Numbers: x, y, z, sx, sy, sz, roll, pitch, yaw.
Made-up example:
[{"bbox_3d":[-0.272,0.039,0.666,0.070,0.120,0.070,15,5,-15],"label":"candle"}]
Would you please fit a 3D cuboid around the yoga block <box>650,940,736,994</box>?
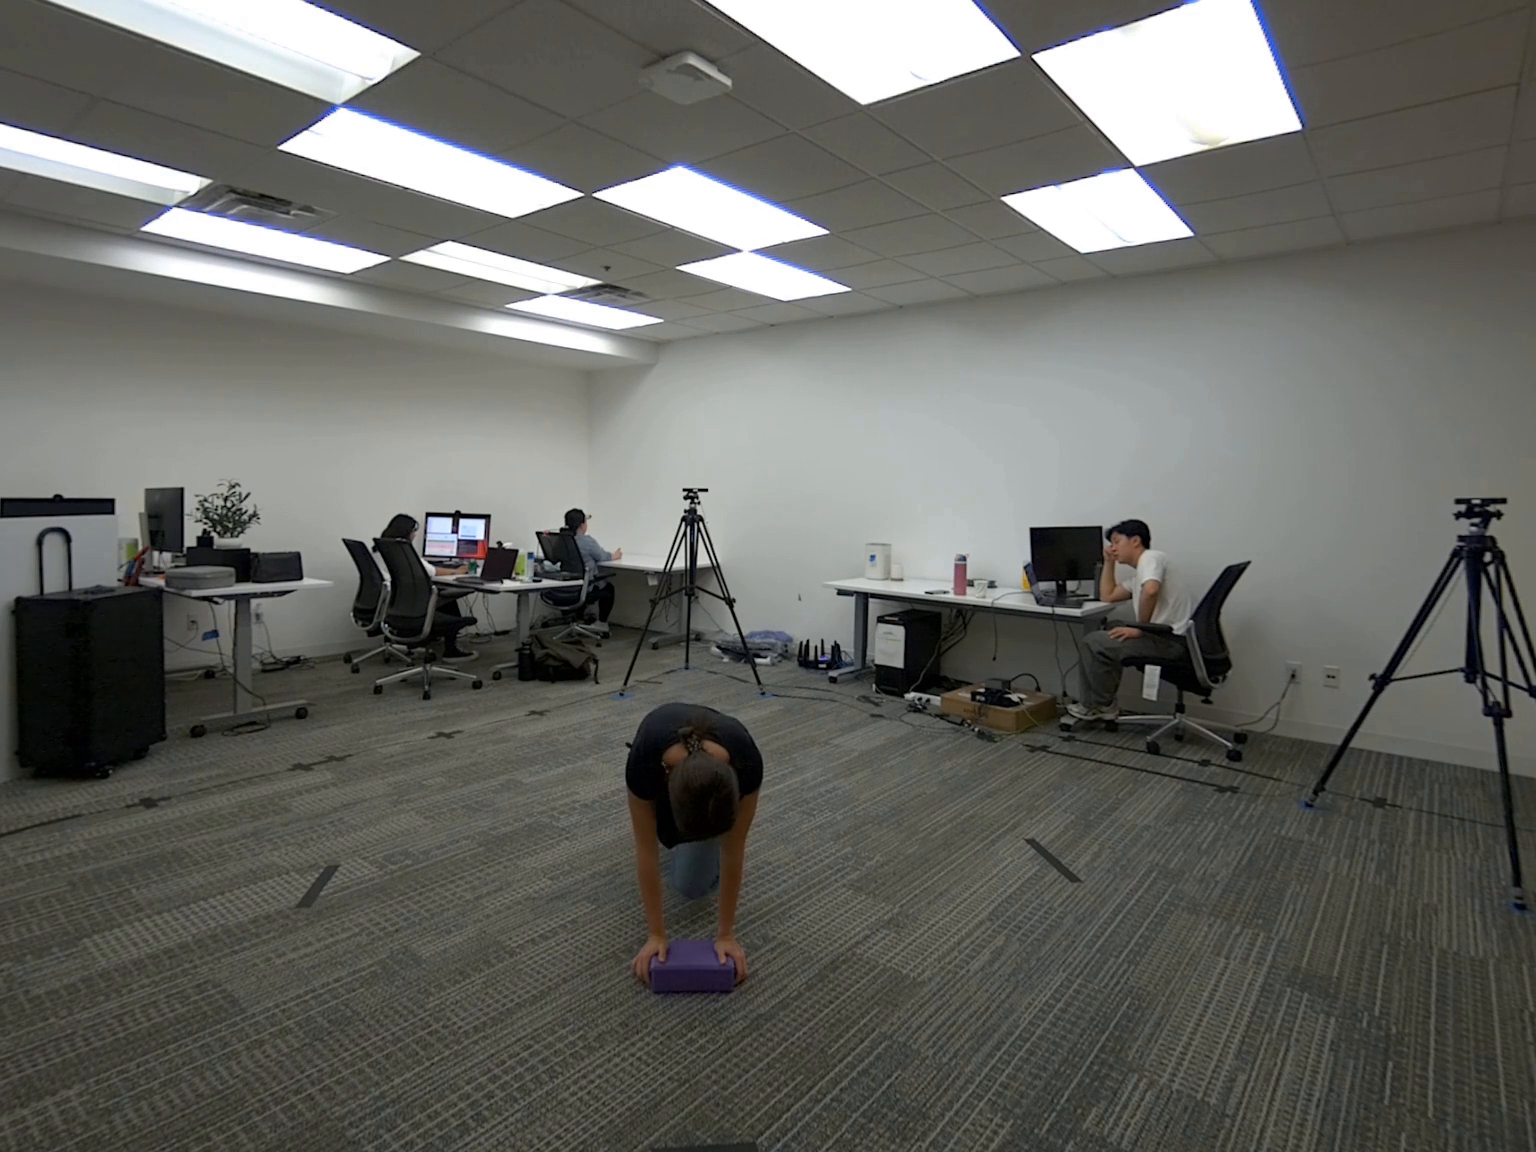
[{"bbox_3d":[-0.218,1.096,2.408,0.228,0.076,0.150,1,4,-4],"label":"yoga block"}]
